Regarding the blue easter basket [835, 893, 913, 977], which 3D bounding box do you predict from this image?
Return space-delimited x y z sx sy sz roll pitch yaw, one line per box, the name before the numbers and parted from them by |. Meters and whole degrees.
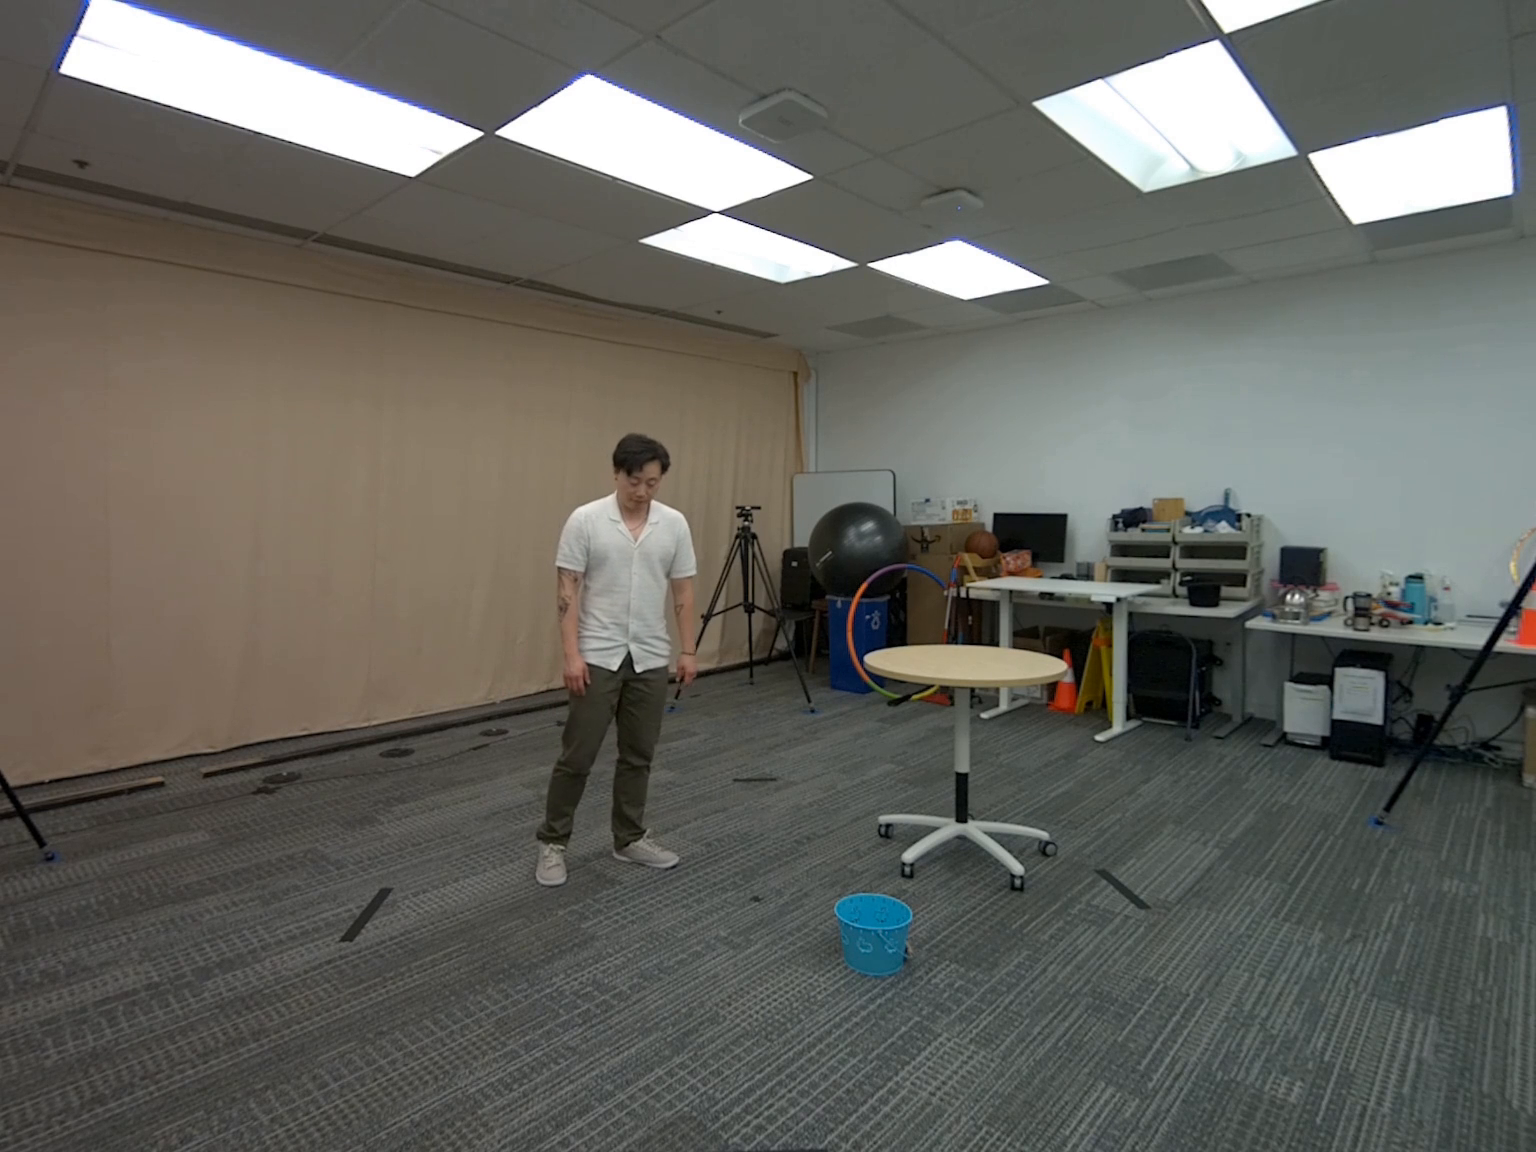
blue easter basket | 0.333 1.098 2.578 0.243 0.155 0.244 -1 4 -2
